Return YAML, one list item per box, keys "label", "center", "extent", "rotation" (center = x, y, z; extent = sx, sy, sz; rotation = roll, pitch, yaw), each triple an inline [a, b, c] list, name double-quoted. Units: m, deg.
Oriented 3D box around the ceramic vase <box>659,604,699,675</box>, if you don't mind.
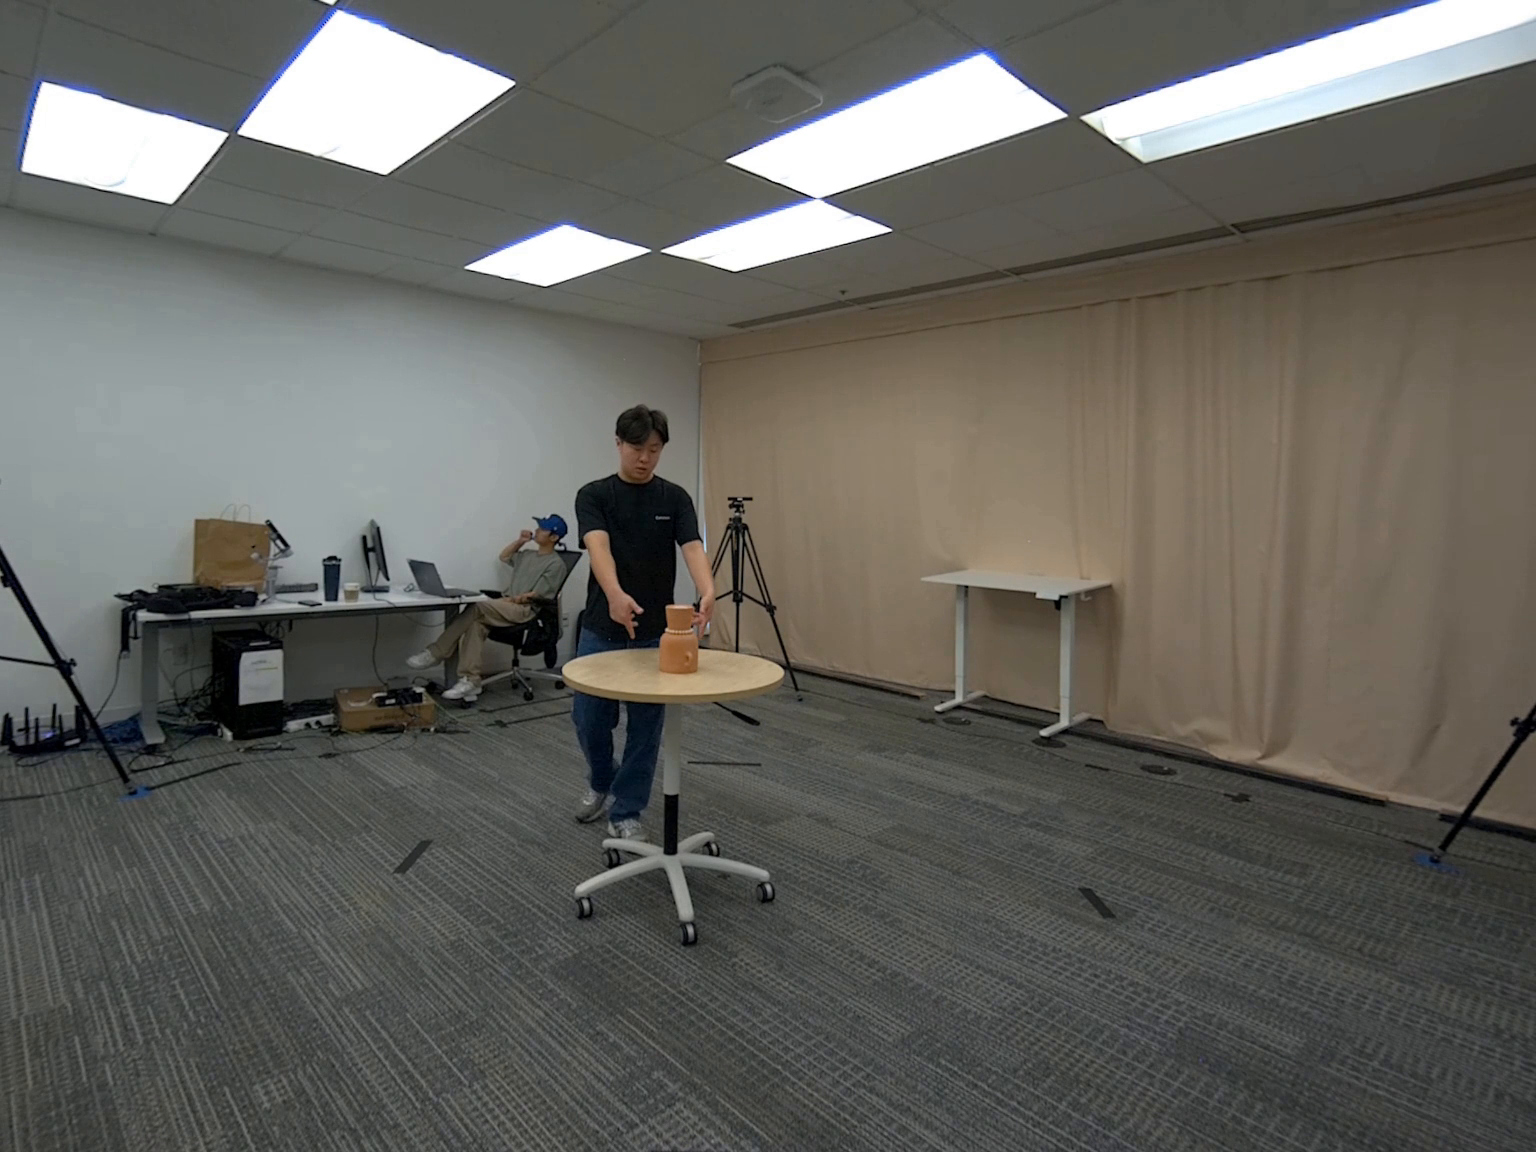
- label: "ceramic vase"
  center: [-0.315, 0.218, 2.892]
  extent: [0.161, 0.219, 0.133]
  rotation: [2, 5, 21]
